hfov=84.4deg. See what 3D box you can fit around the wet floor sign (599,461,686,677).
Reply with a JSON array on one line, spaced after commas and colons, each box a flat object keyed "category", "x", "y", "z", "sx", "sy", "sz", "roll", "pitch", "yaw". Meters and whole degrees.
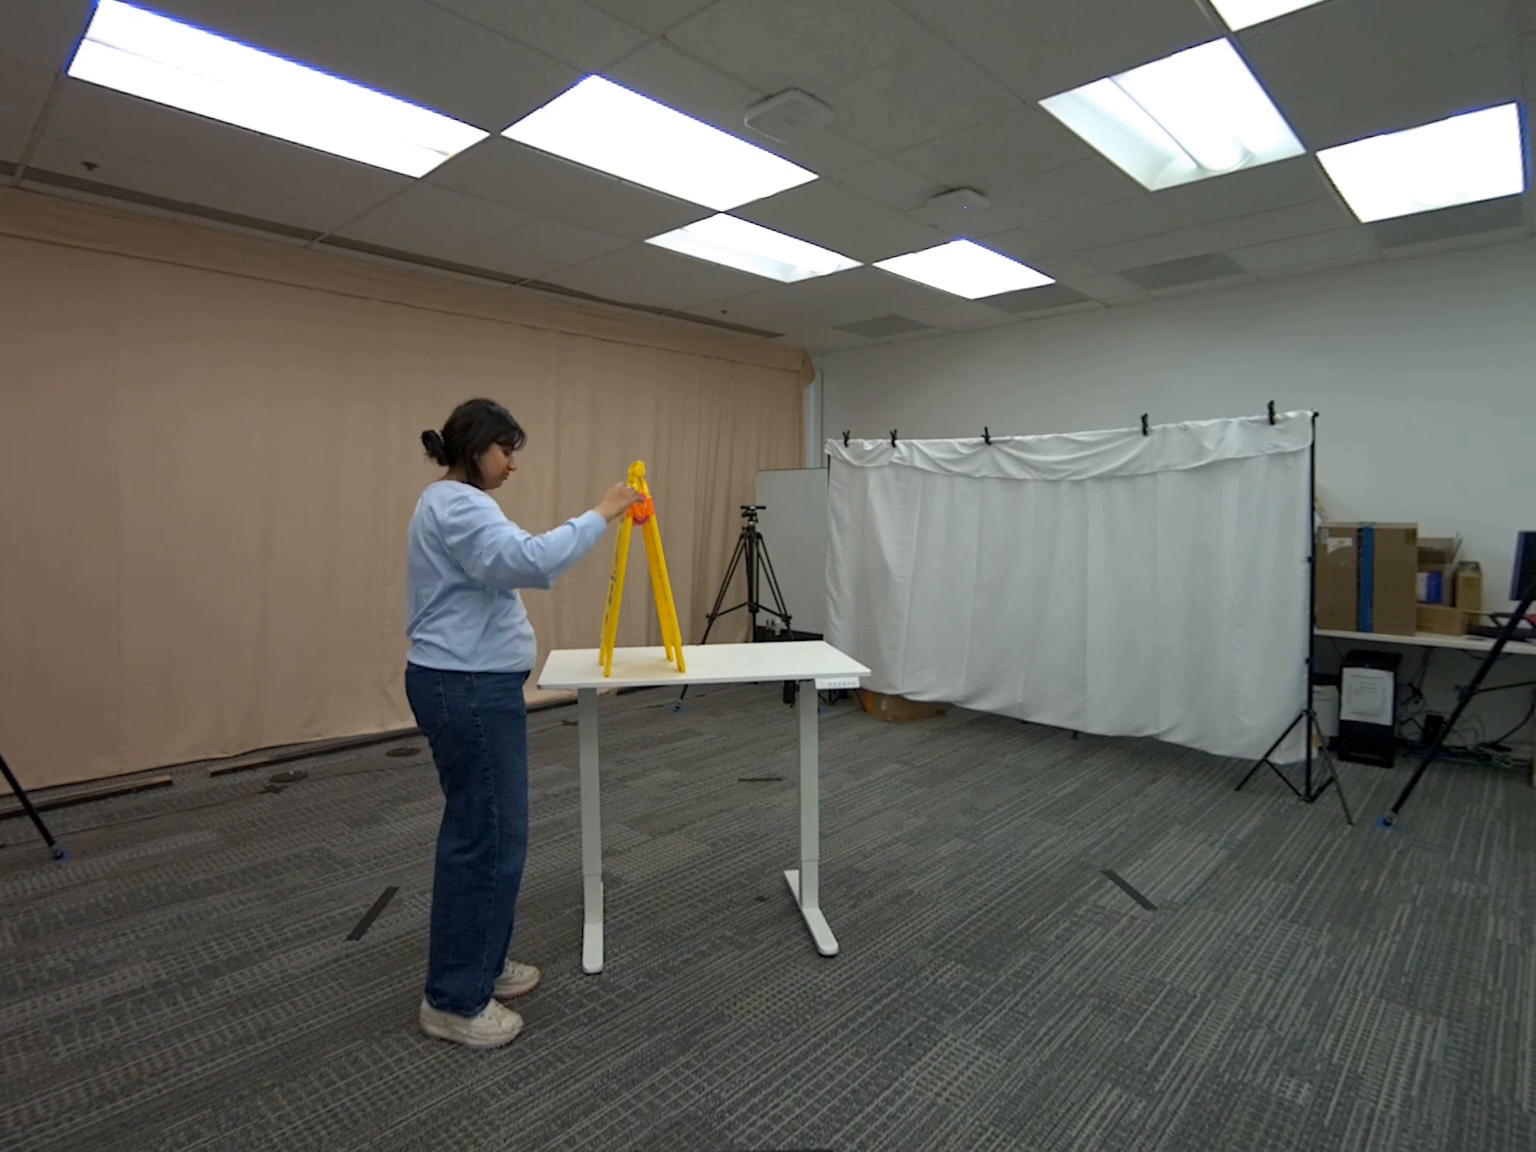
[{"category": "wet floor sign", "x": -0.409, "y": -0.032, "z": 2.669, "sx": 0.286, "sy": 0.645, "sz": 0.286, "roll": -1, "pitch": 3, "yaw": -13}]
